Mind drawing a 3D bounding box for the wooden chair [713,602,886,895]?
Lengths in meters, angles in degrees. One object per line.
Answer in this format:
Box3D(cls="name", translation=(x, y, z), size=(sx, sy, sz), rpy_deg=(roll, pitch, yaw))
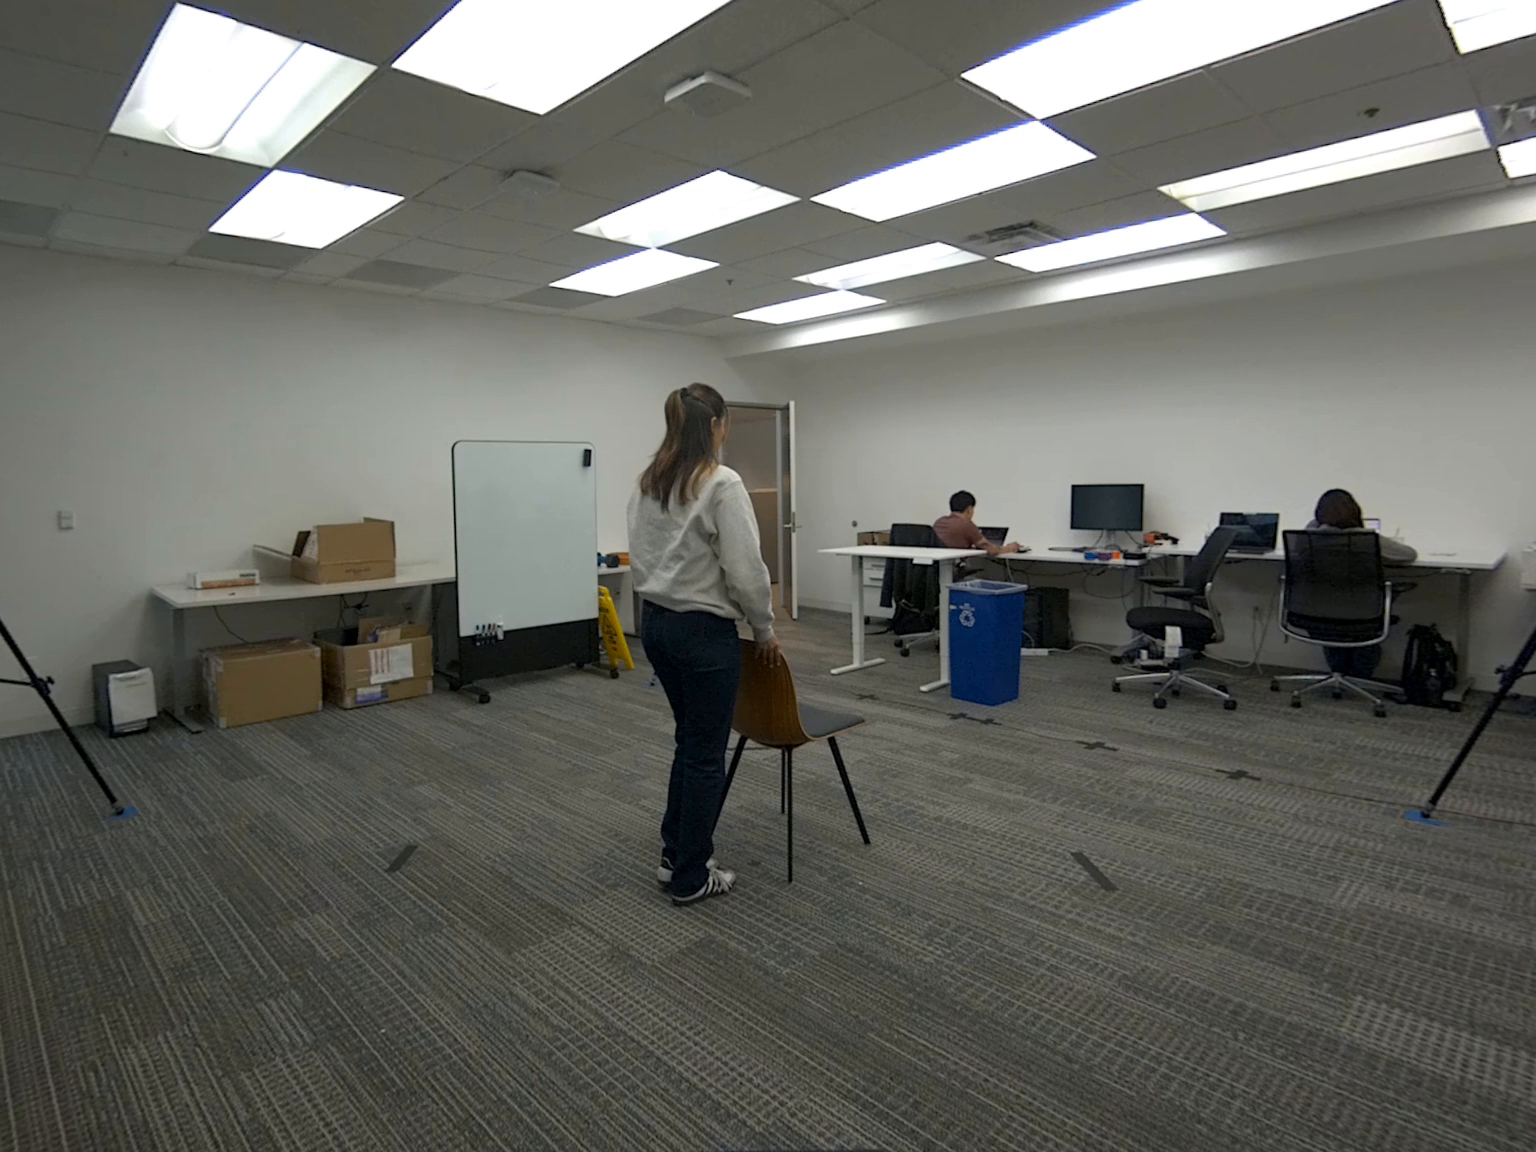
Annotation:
Box3D(cls="wooden chair", translation=(0.068, 0.600, 3.240), size=(0.493, 0.871, 0.511), rpy_deg=(3, 10, 45))
